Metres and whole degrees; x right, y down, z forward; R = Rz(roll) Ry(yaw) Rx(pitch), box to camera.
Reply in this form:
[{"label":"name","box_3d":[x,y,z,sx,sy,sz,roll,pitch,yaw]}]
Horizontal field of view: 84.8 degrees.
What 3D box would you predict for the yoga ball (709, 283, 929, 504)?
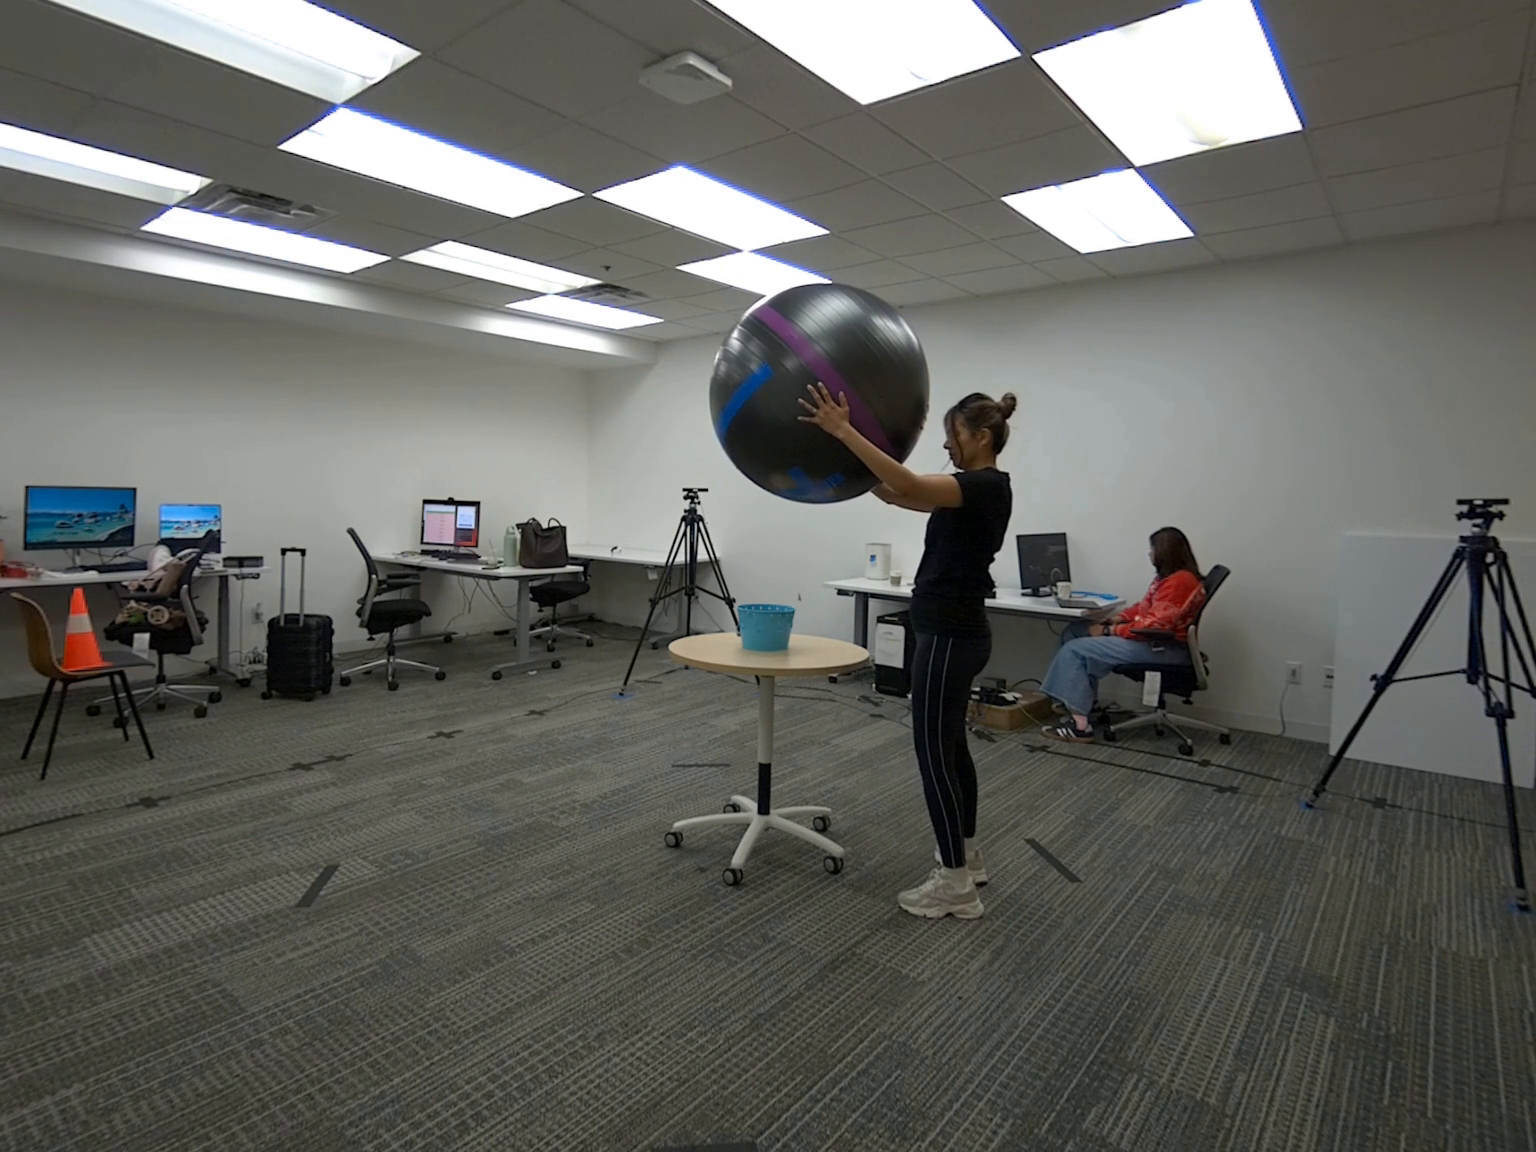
[{"label":"yoga ball","box_3d":[0.164,-0.625,2.956,0.757,0.756,0.762,1,4,-2]}]
